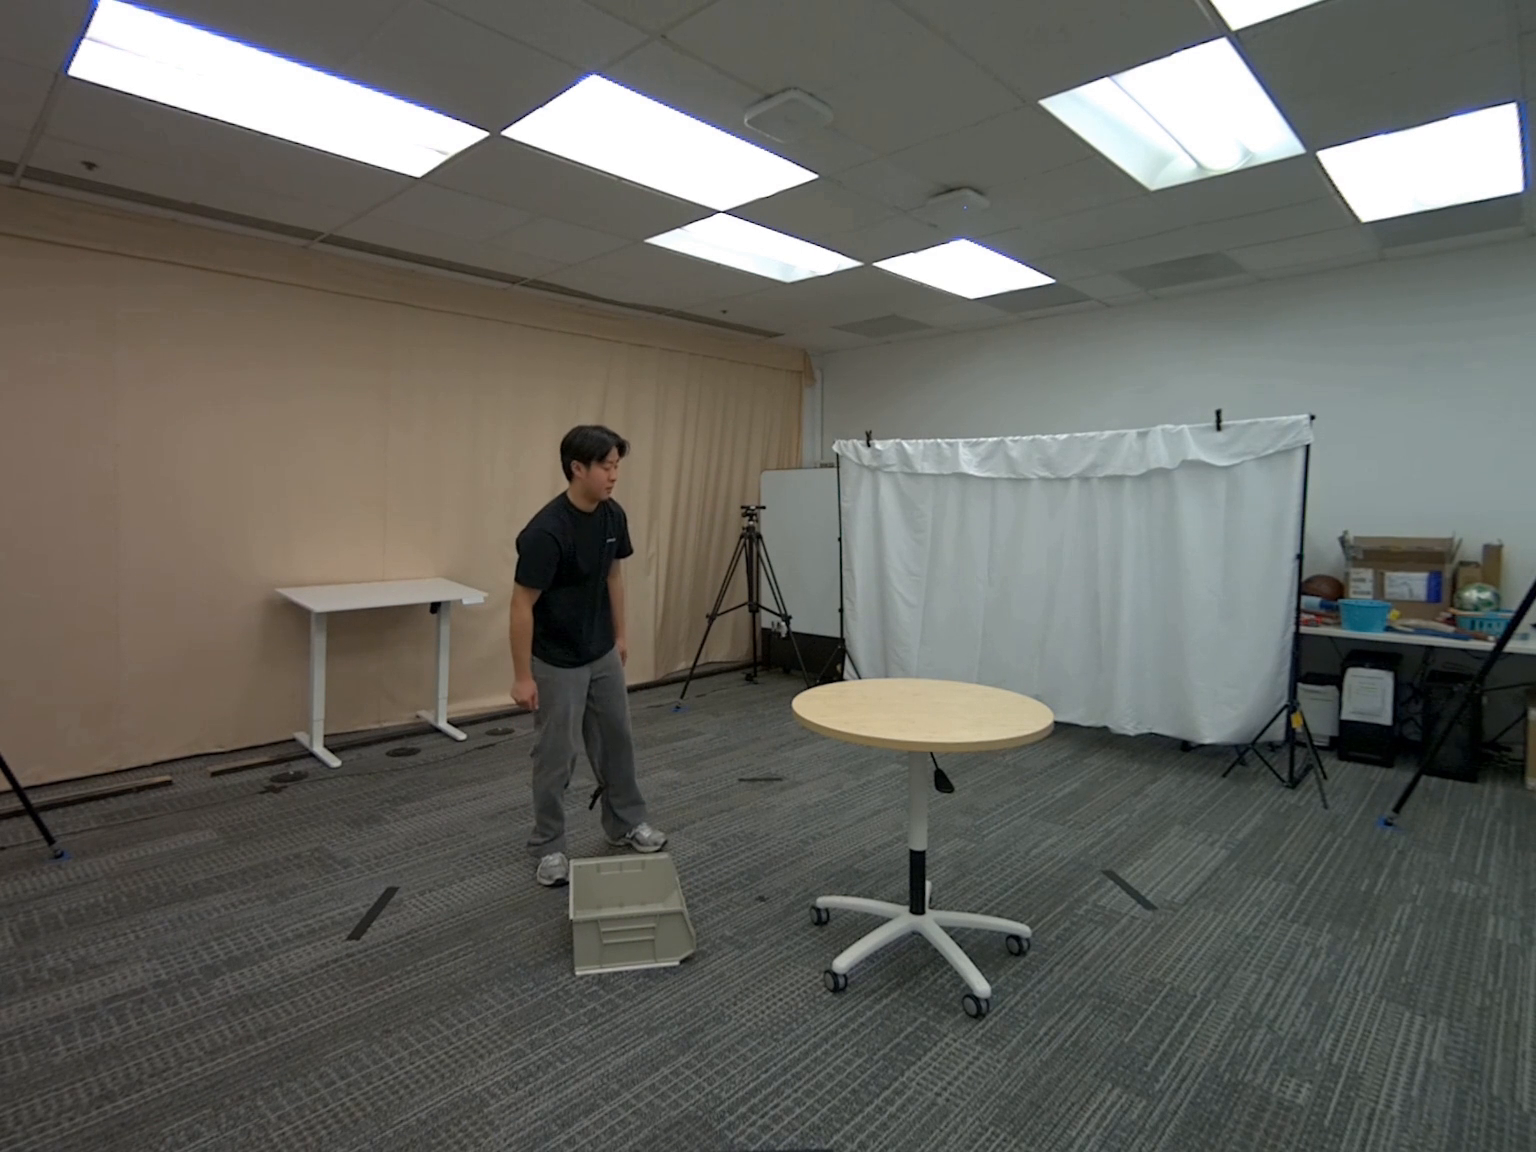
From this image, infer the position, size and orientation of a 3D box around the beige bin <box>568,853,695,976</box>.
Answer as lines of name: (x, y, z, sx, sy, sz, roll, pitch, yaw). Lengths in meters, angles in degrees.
beige bin: (-0.450, 1.082, 2.722, 0.373, 0.188, 0.429, -2, 5, -12)
